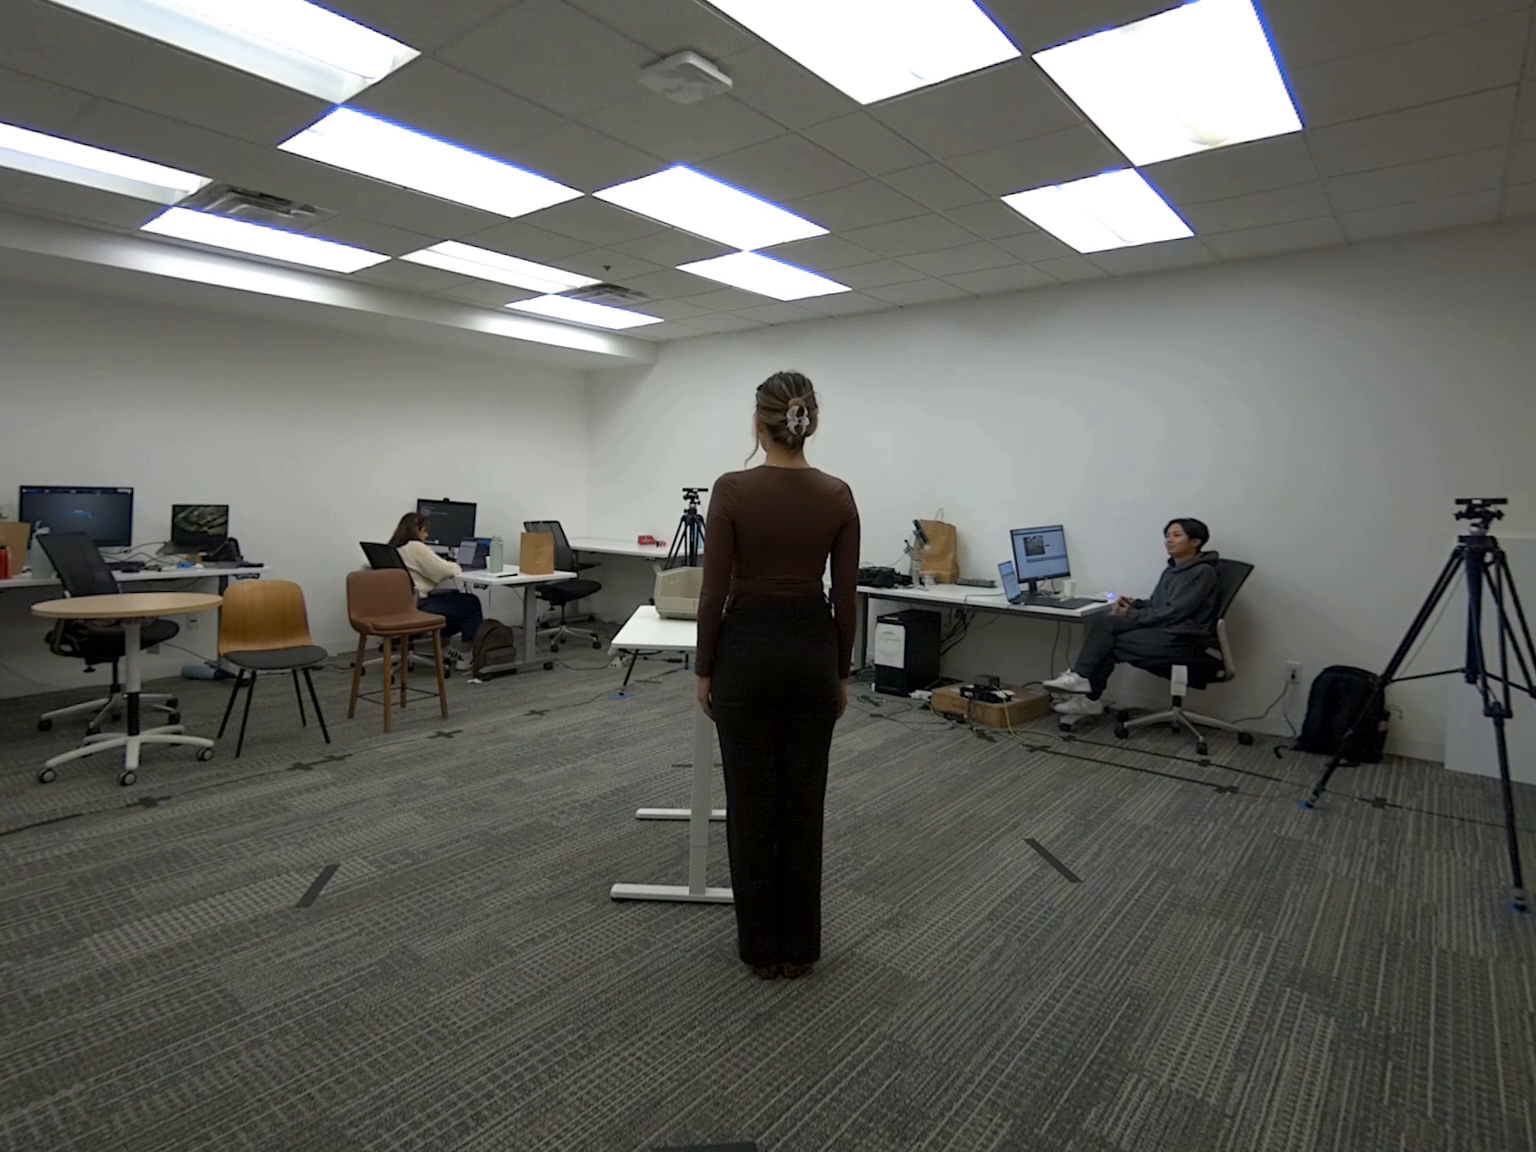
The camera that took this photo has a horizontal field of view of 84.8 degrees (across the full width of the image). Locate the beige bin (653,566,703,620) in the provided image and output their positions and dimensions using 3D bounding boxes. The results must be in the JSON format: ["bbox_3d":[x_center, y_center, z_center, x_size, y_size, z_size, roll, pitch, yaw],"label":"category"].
[{"bbox_3d":[-0.206,0.075,3.378,0.429,0.188,0.372,3,3,13],"label":"beige bin"}]
